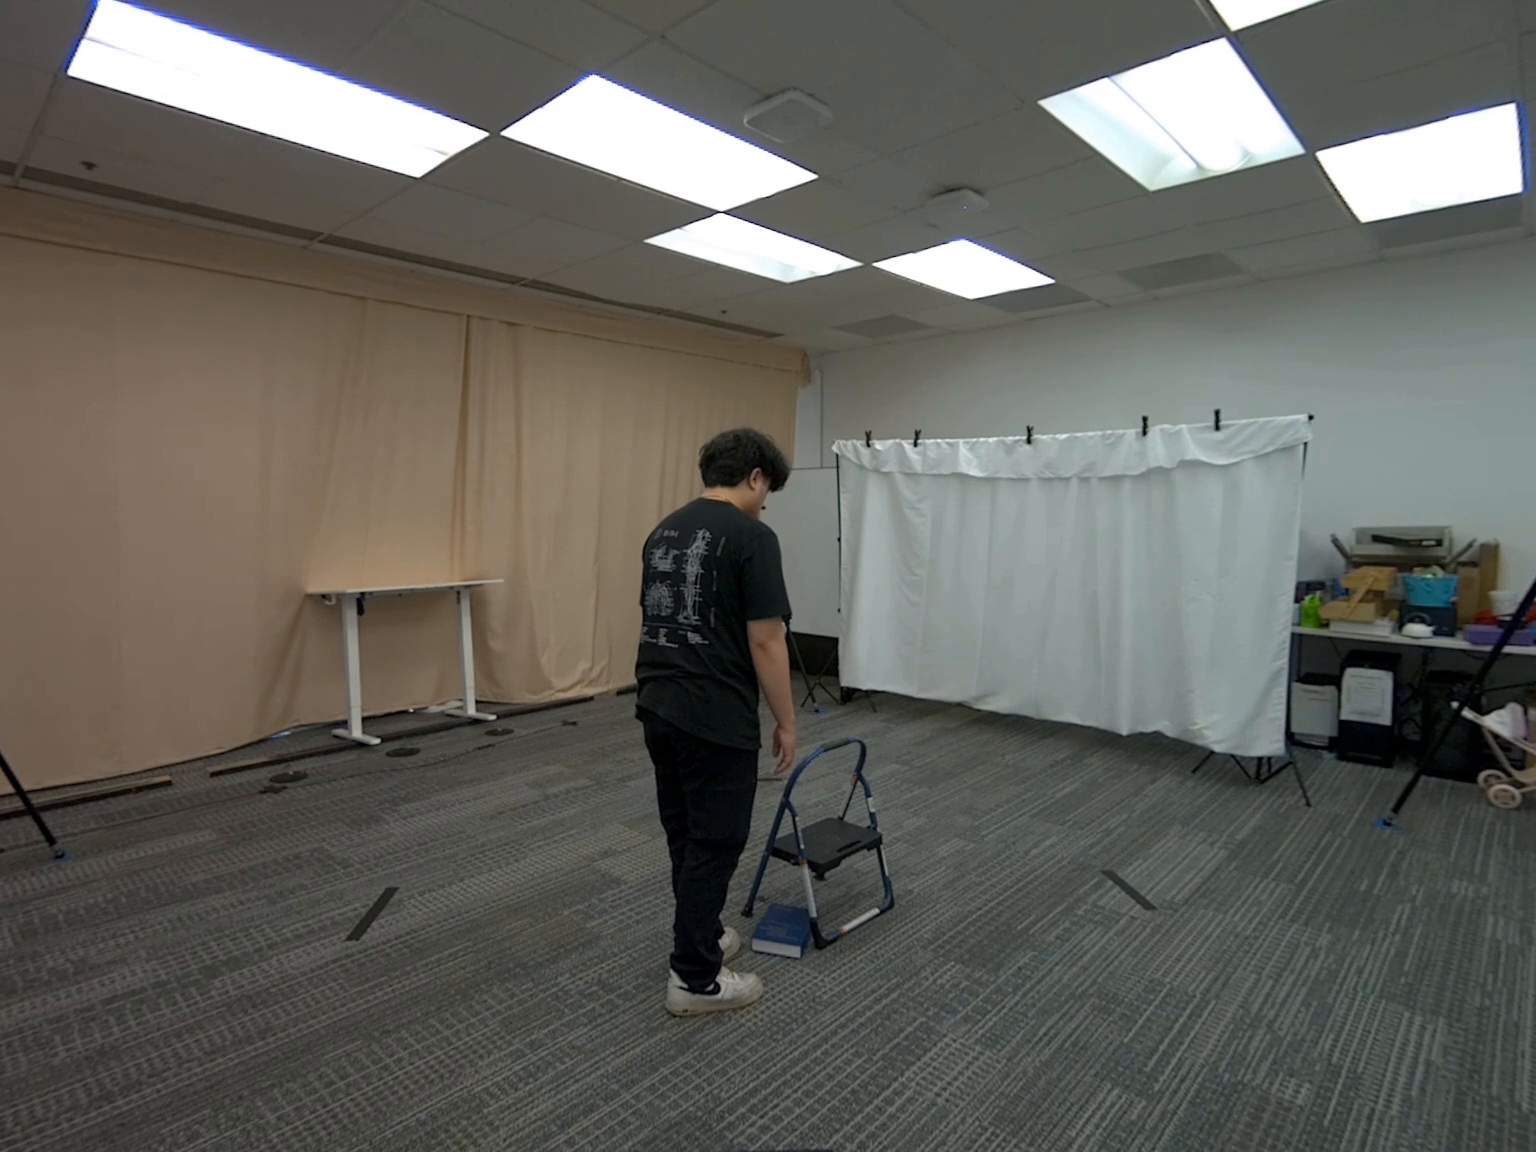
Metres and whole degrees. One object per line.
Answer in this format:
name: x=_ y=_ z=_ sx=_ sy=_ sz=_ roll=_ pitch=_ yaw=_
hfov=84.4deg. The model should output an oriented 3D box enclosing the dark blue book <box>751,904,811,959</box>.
dark blue book: x=0.064 y=1.147 z=2.713 sx=0.166 sy=0.045 sz=0.241 roll=1 pitch=5 yaw=17
